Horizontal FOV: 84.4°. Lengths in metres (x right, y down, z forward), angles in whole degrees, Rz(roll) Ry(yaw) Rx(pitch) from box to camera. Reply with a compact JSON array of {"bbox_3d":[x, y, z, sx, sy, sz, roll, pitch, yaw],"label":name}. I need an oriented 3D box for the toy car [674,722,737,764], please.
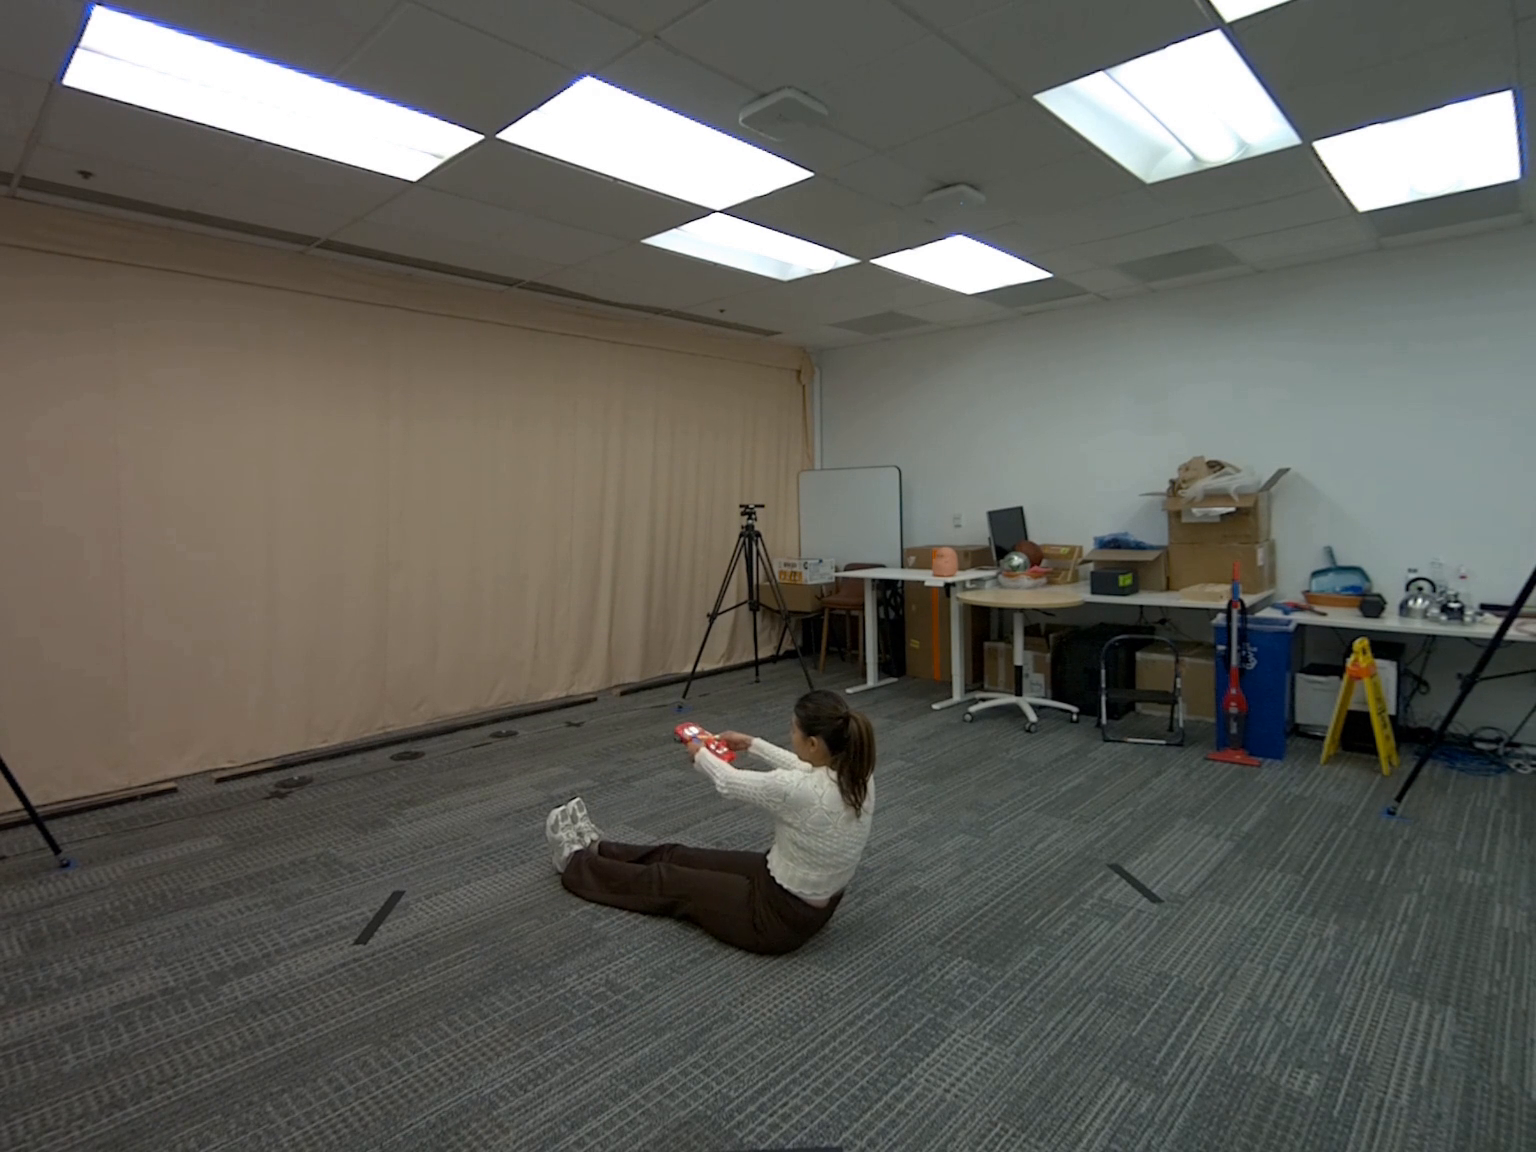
[{"bbox_3d":[-0.221,0.640,3.121,0.263,0.082,0.127,21,20,35],"label":"toy car"}]
